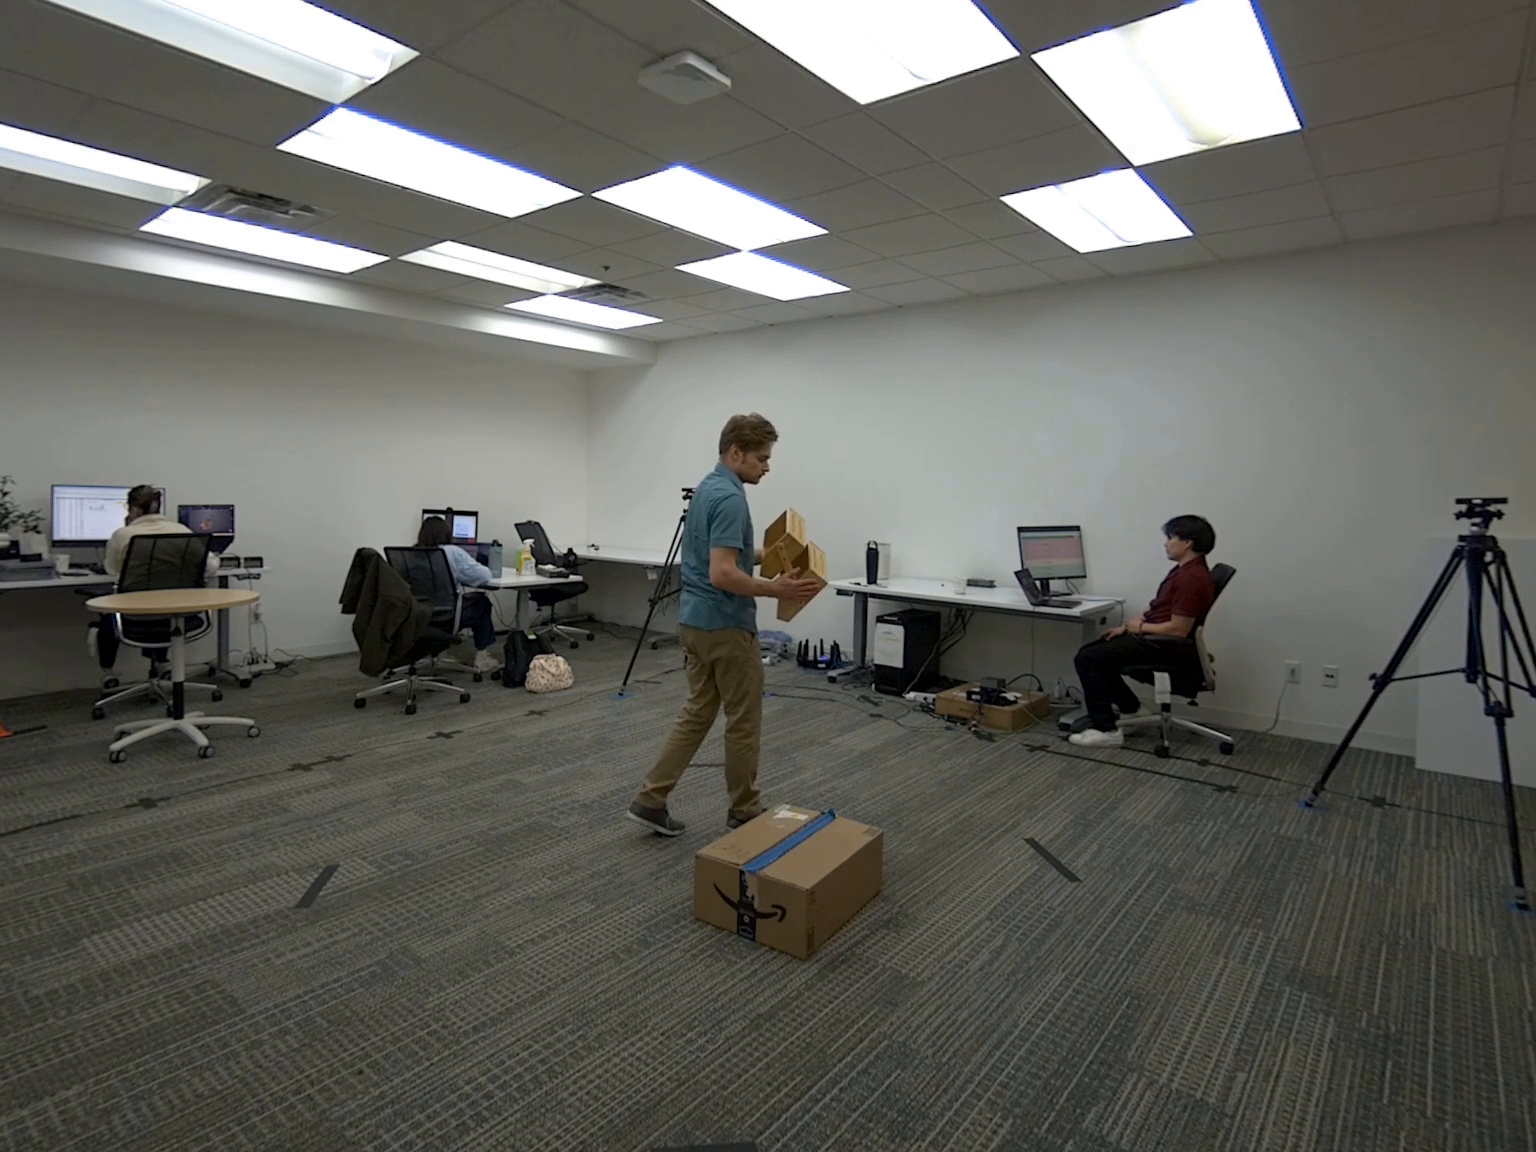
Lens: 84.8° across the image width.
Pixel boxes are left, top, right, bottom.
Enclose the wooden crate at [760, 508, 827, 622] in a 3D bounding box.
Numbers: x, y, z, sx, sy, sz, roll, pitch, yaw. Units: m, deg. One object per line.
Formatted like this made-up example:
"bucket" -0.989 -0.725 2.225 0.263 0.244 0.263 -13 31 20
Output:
"wooden crate" 0.059 -0.048 3.442 0.269 0.302 0.330 40 19 -13
